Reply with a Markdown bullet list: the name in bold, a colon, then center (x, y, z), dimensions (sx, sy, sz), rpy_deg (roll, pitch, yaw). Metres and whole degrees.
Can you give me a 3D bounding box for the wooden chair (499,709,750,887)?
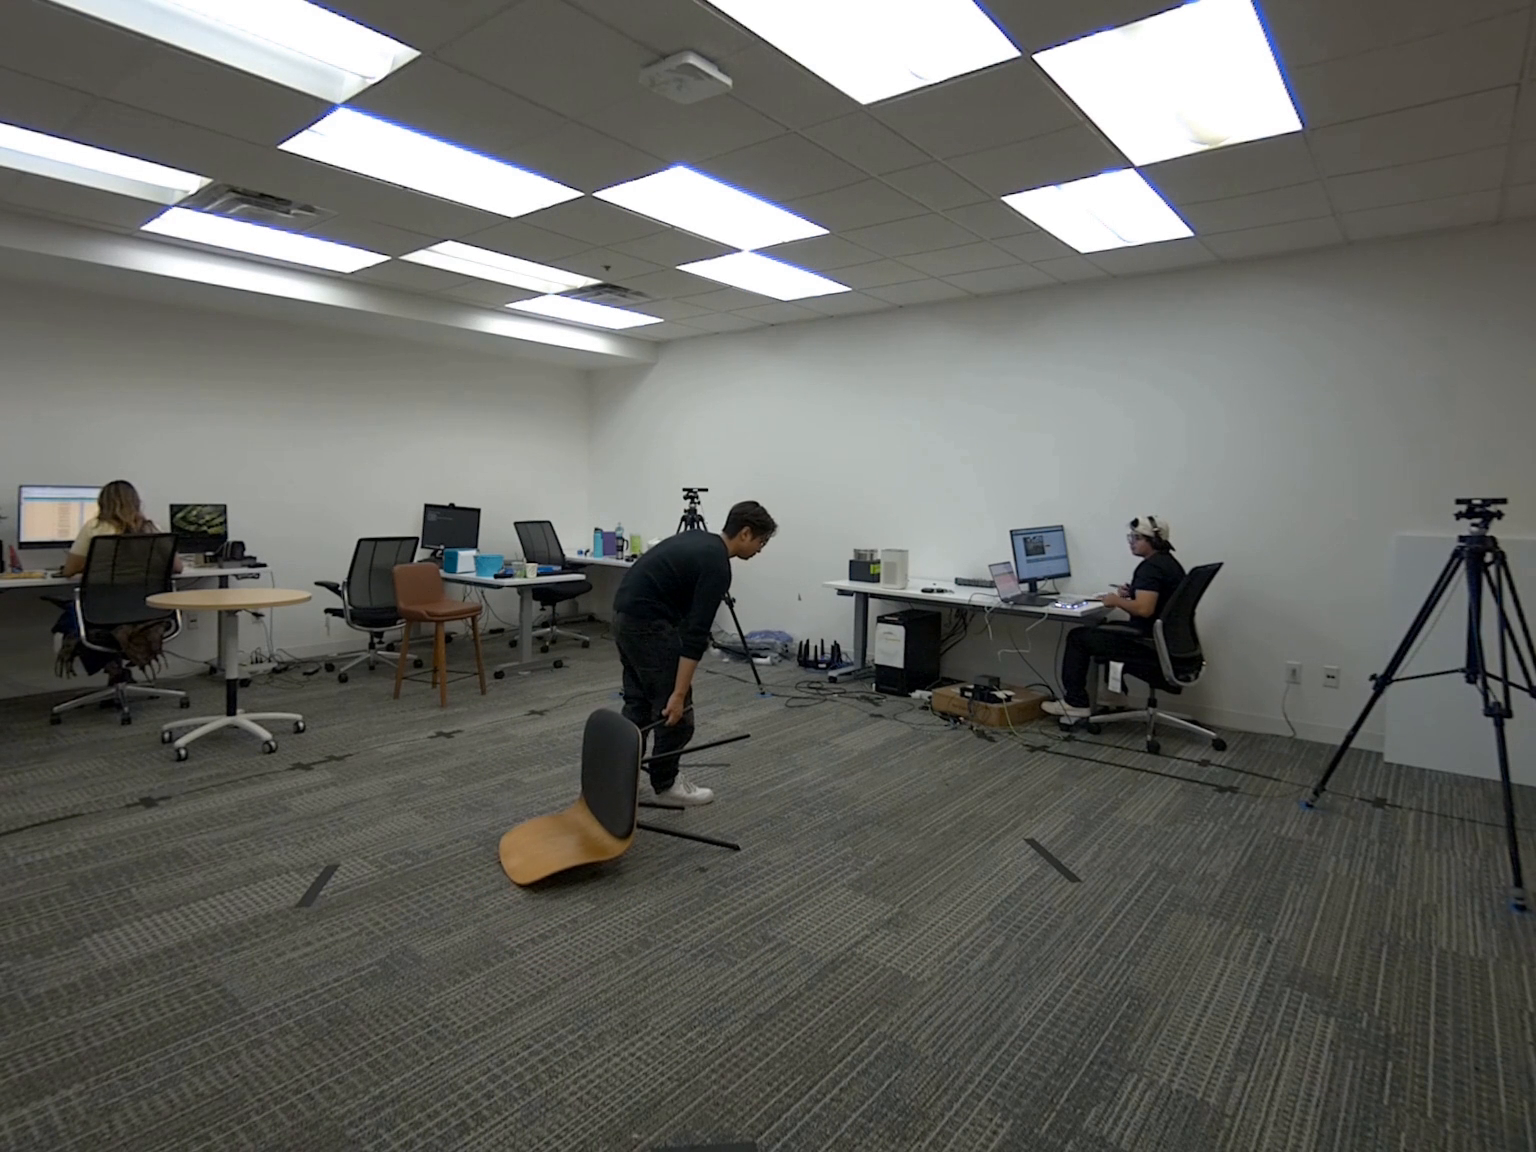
- **wooden chair**: center (-0.575, 0.790, 3.232), dimensions (0.853, 0.521, 0.494), rpy_deg (-3, 7, -33)
